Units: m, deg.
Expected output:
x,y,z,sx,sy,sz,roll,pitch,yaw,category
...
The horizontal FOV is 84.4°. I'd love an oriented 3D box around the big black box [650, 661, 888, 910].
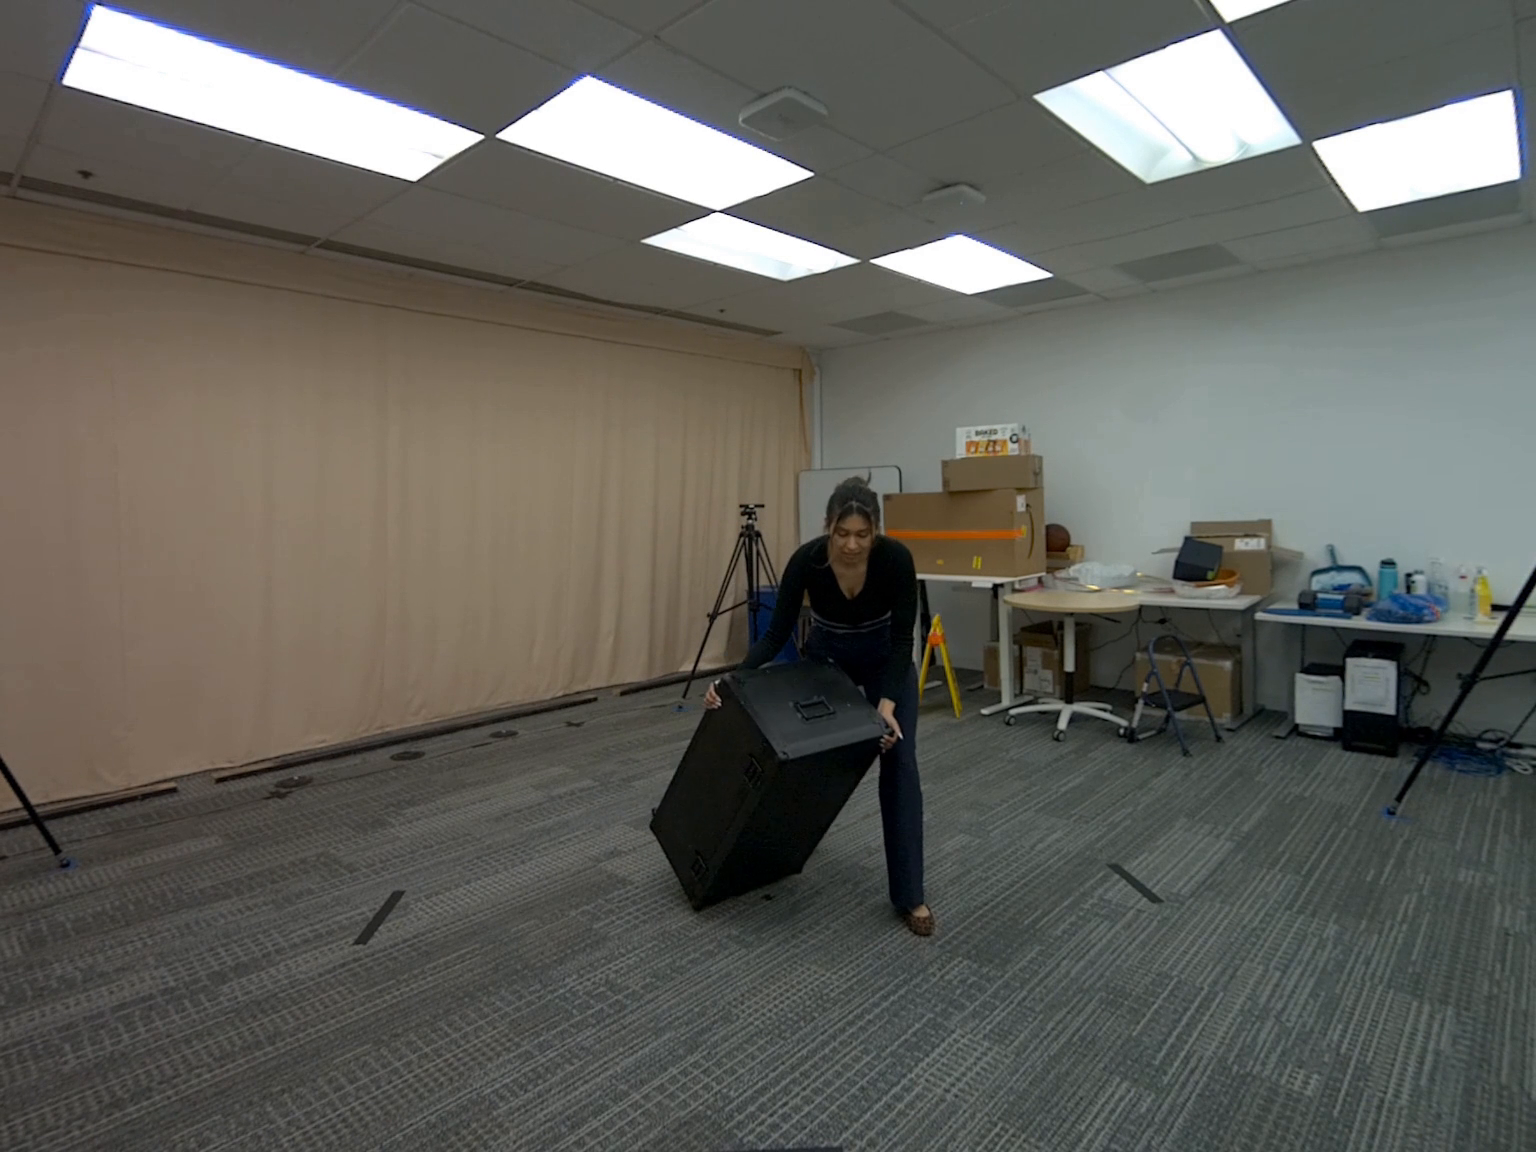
x,y,z,sx,sy,sz,roll,pitch,yaw,category
0.001,0.701,2.857,0.506,0.859,0.409,-2,41,-37,big black box
